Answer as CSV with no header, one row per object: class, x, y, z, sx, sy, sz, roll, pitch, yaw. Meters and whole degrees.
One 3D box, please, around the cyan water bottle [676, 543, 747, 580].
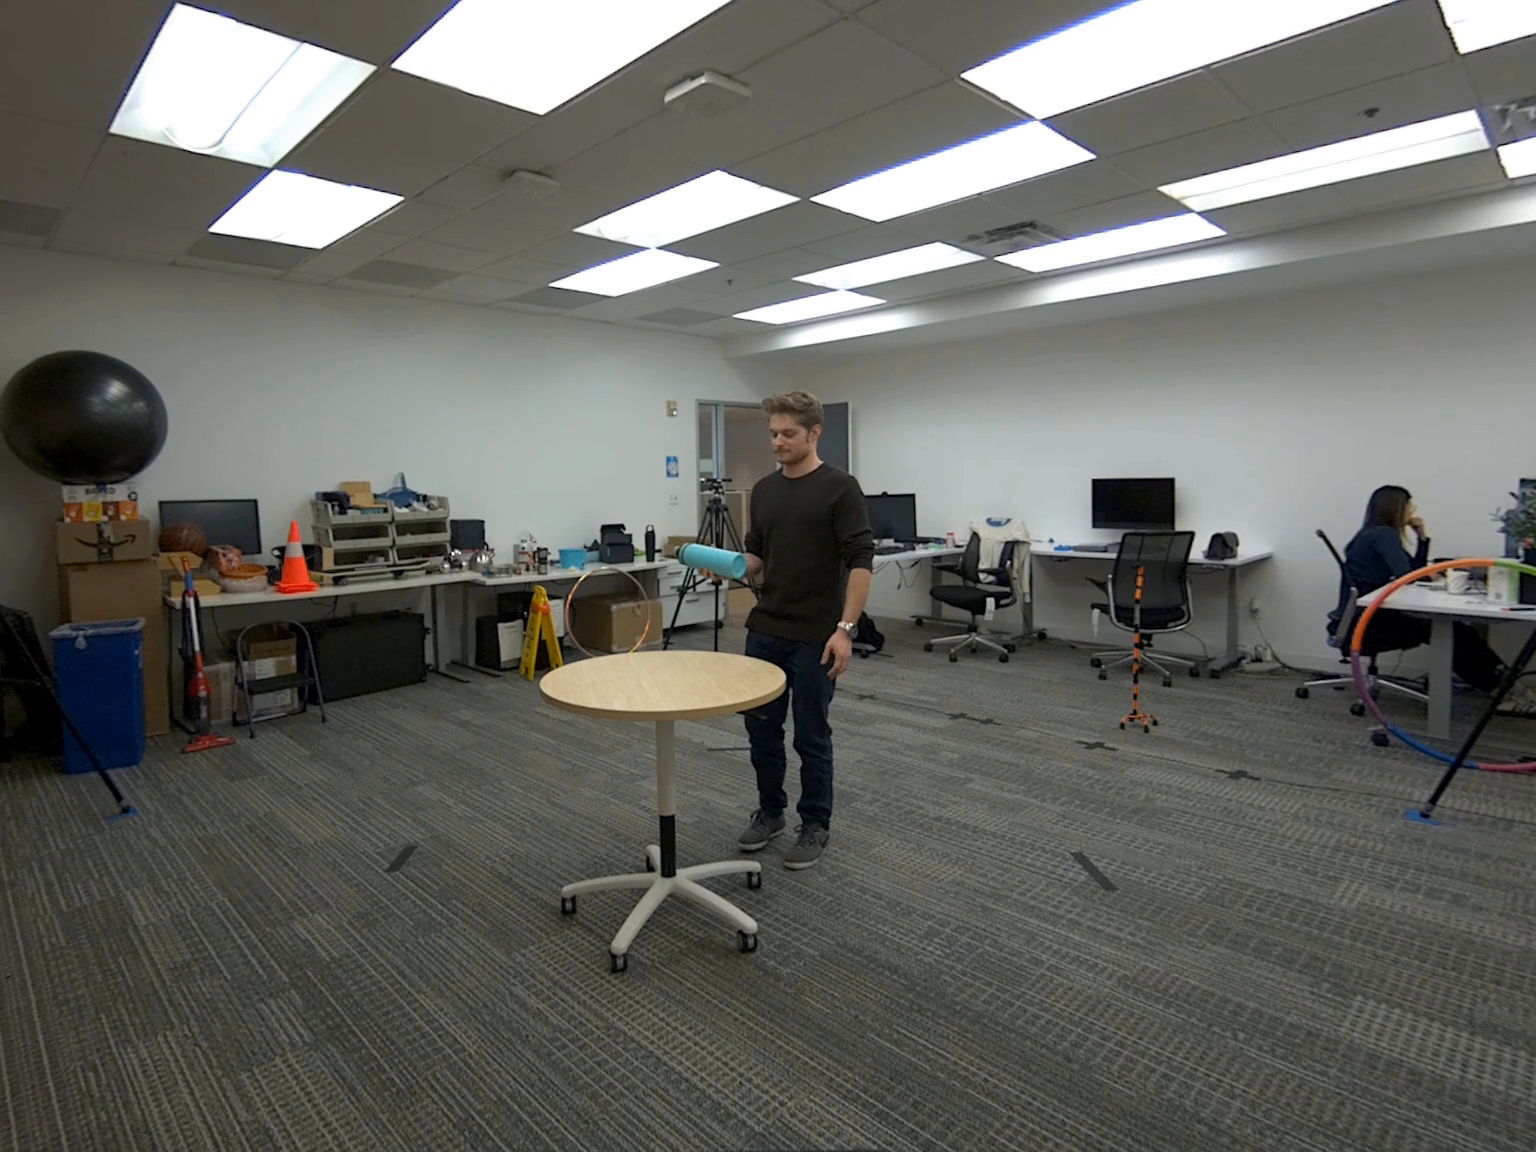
cyan water bottle,-0.210,-0.058,3.031,0.293,0.092,0.090,12,11,37
